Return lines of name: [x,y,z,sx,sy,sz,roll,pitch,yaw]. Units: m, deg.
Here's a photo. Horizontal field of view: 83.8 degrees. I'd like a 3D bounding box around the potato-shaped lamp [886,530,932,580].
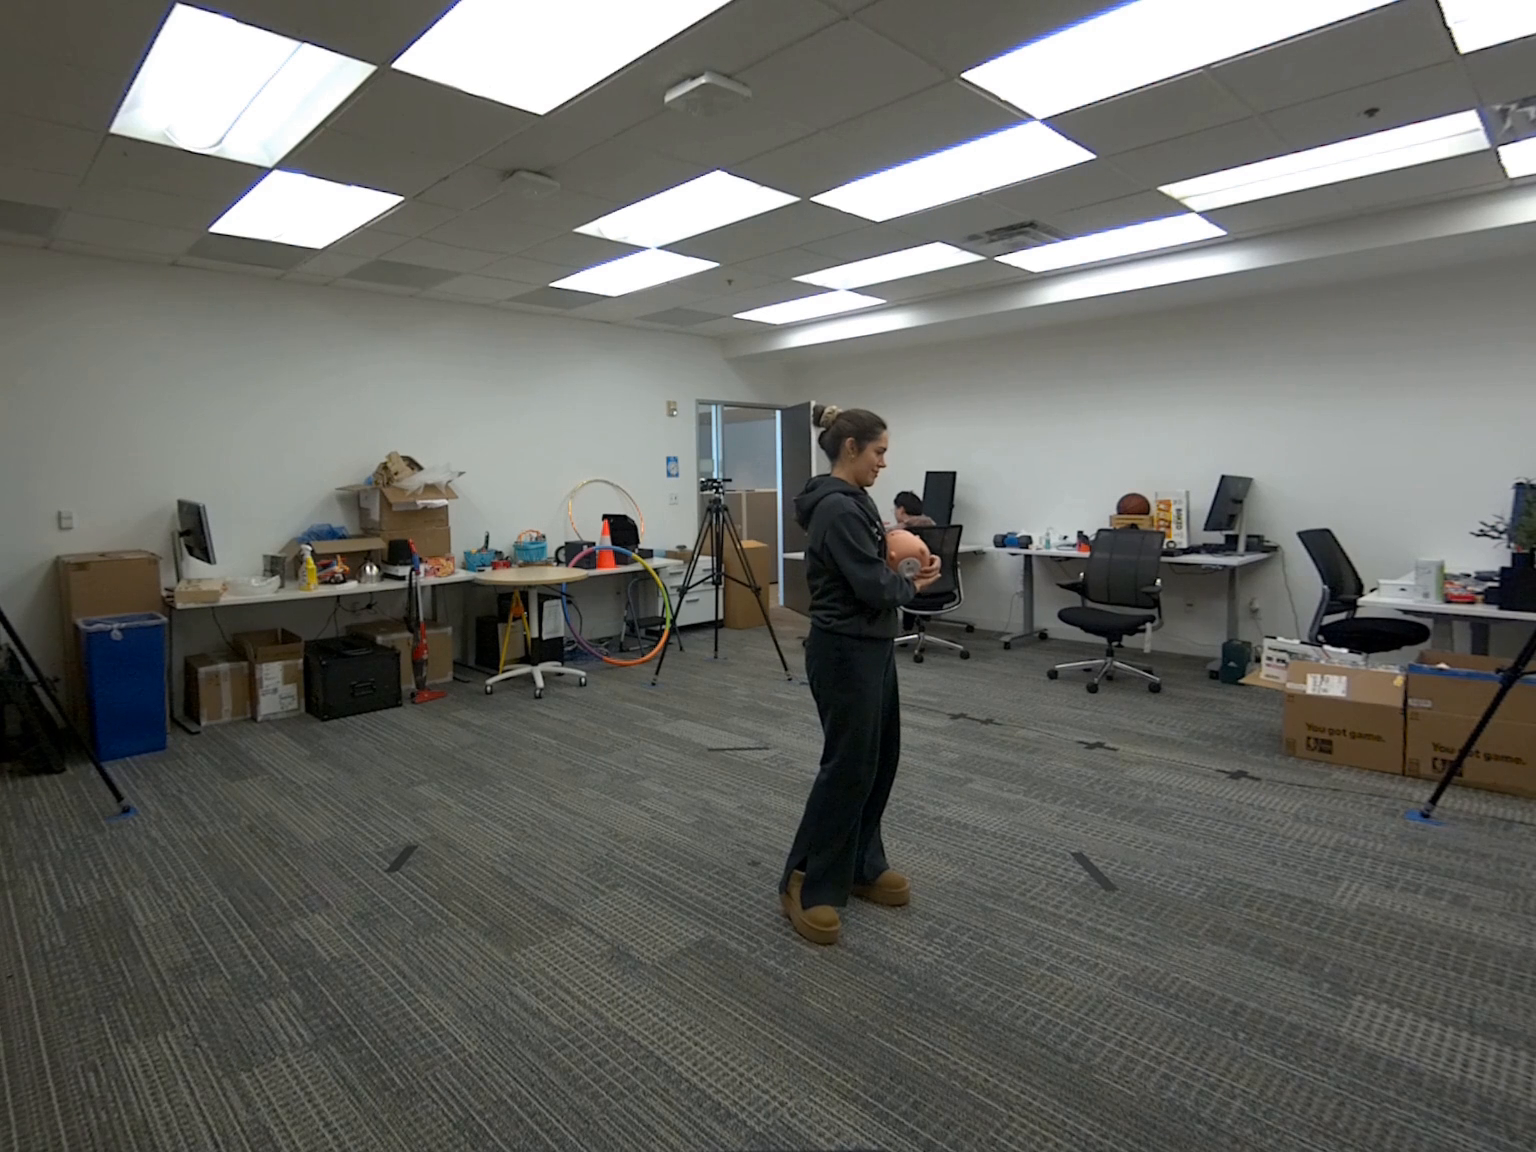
potato-shaped lamp: [0.446,-0.071,2.891,0.165,0.166,0.204,-16,36,0]
